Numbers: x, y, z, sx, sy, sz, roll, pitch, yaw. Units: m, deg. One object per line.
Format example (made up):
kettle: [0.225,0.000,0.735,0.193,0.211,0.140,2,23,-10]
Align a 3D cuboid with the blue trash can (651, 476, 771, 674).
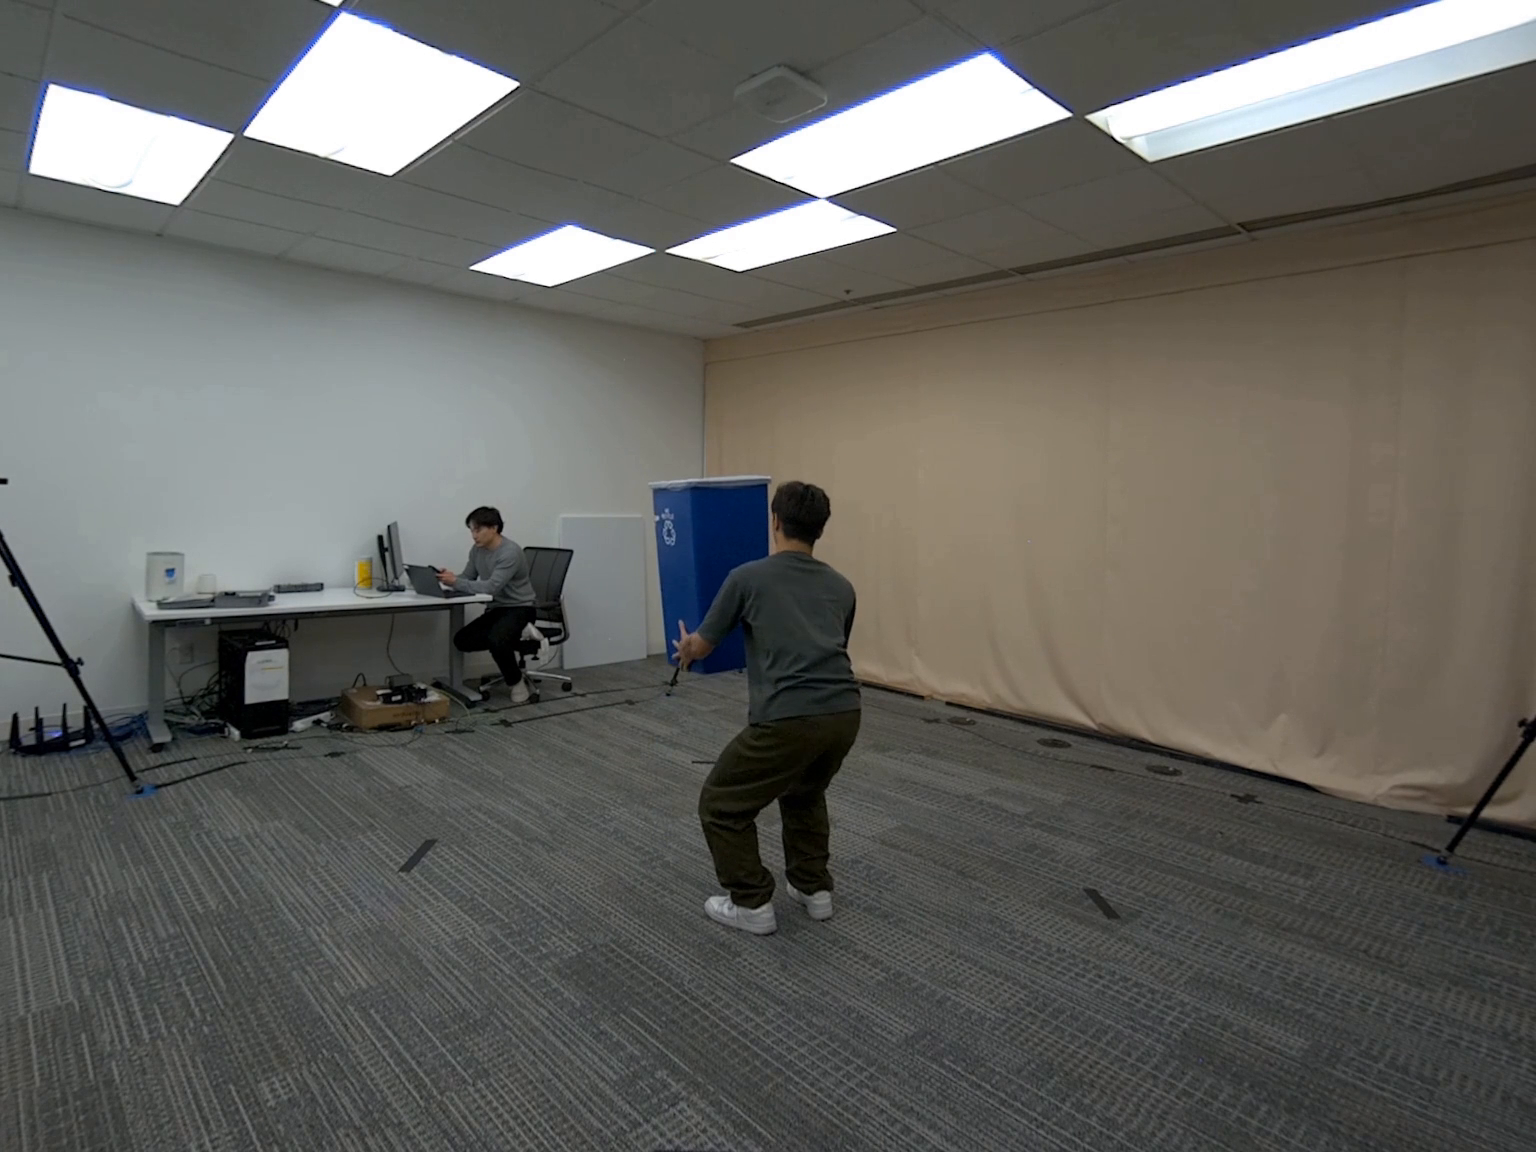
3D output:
blue trash can: [-0.224,-0.016,3.245,0.367,0.711,0.386,-5,4,-32]
